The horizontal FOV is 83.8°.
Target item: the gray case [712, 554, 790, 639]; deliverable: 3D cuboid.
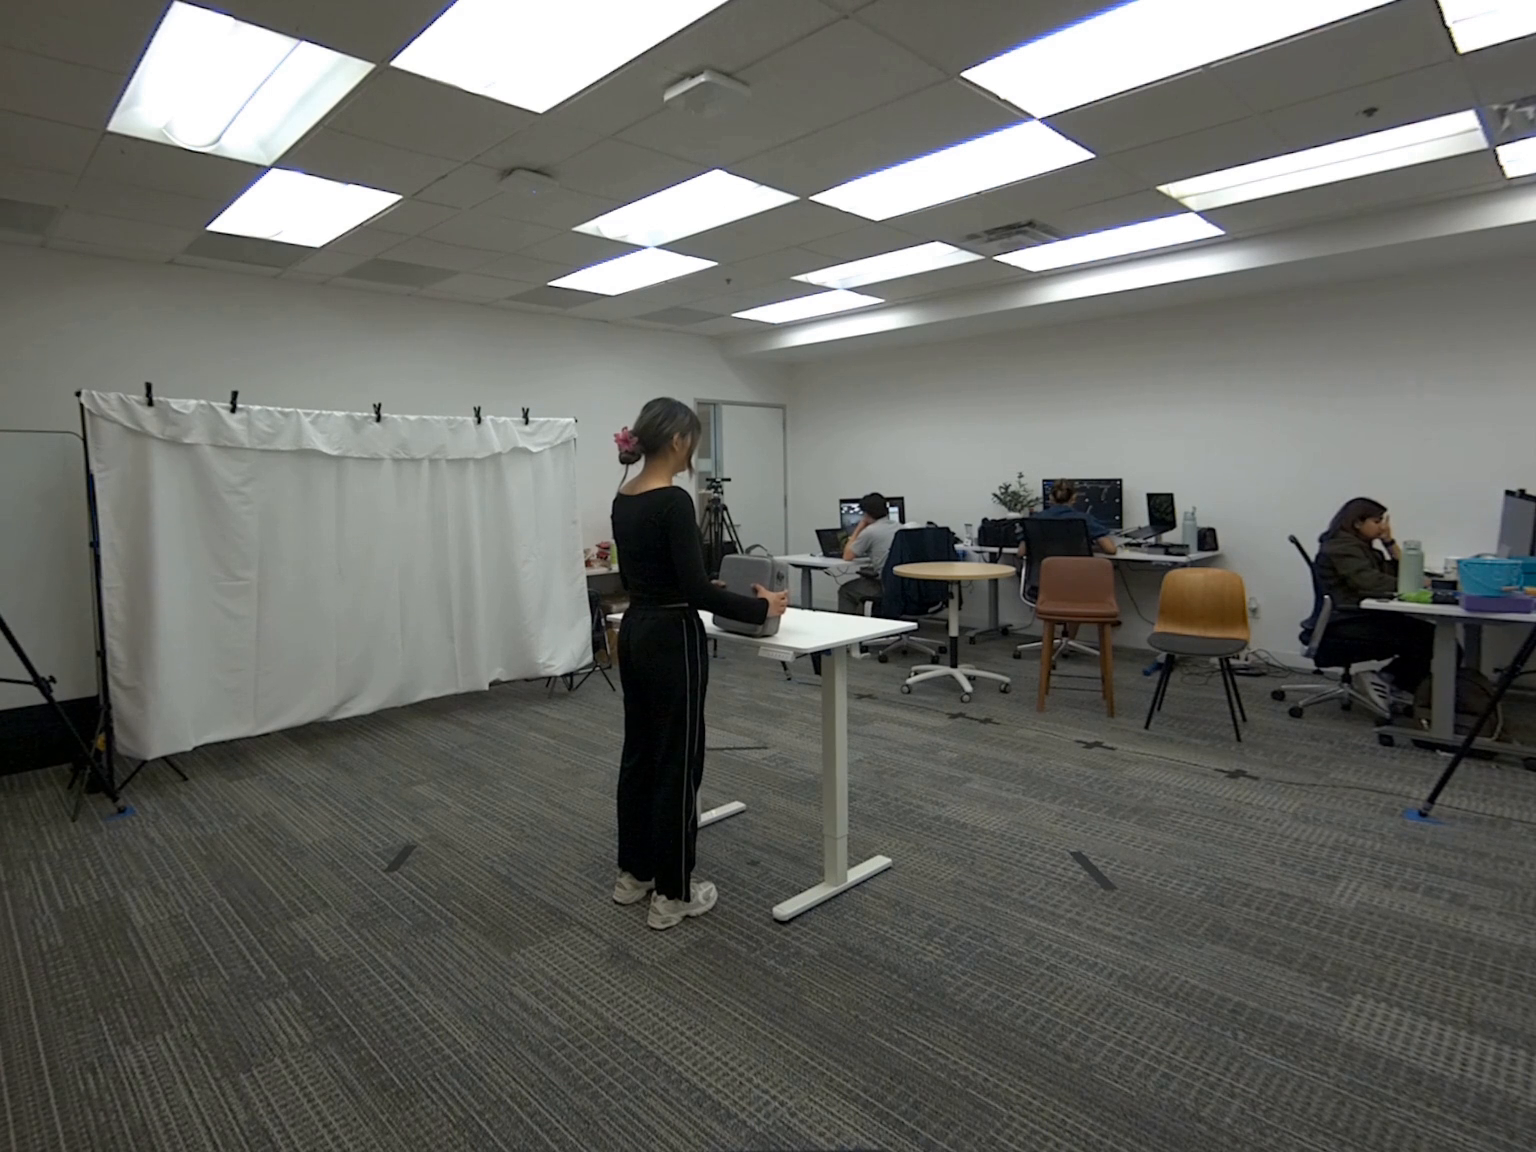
[{"bbox_3d":[-0.059,0.059,2.827,0.101,0.261,0.264,12,-4,-36],"label":"gray case"}]
